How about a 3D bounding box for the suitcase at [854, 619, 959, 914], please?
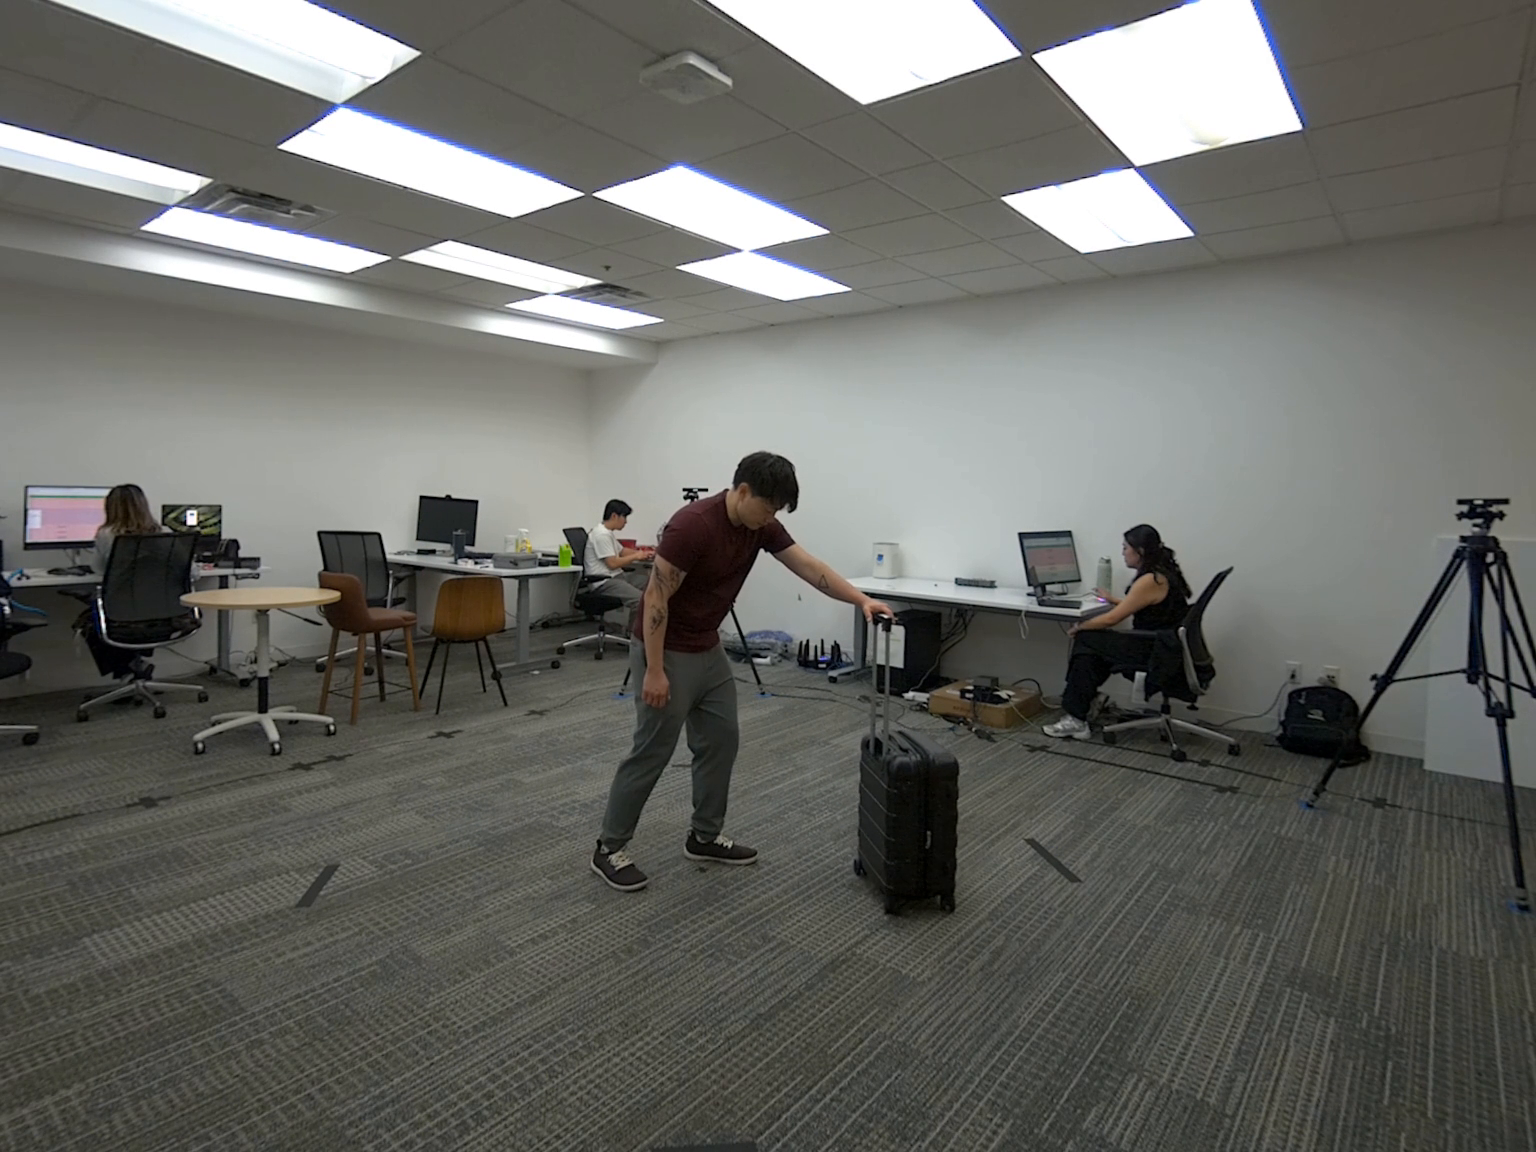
[{"bbox_3d":[0.480,0.624,2.929,0.255,0.975,0.389,2,4,-9],"label":"suitcase"}]
